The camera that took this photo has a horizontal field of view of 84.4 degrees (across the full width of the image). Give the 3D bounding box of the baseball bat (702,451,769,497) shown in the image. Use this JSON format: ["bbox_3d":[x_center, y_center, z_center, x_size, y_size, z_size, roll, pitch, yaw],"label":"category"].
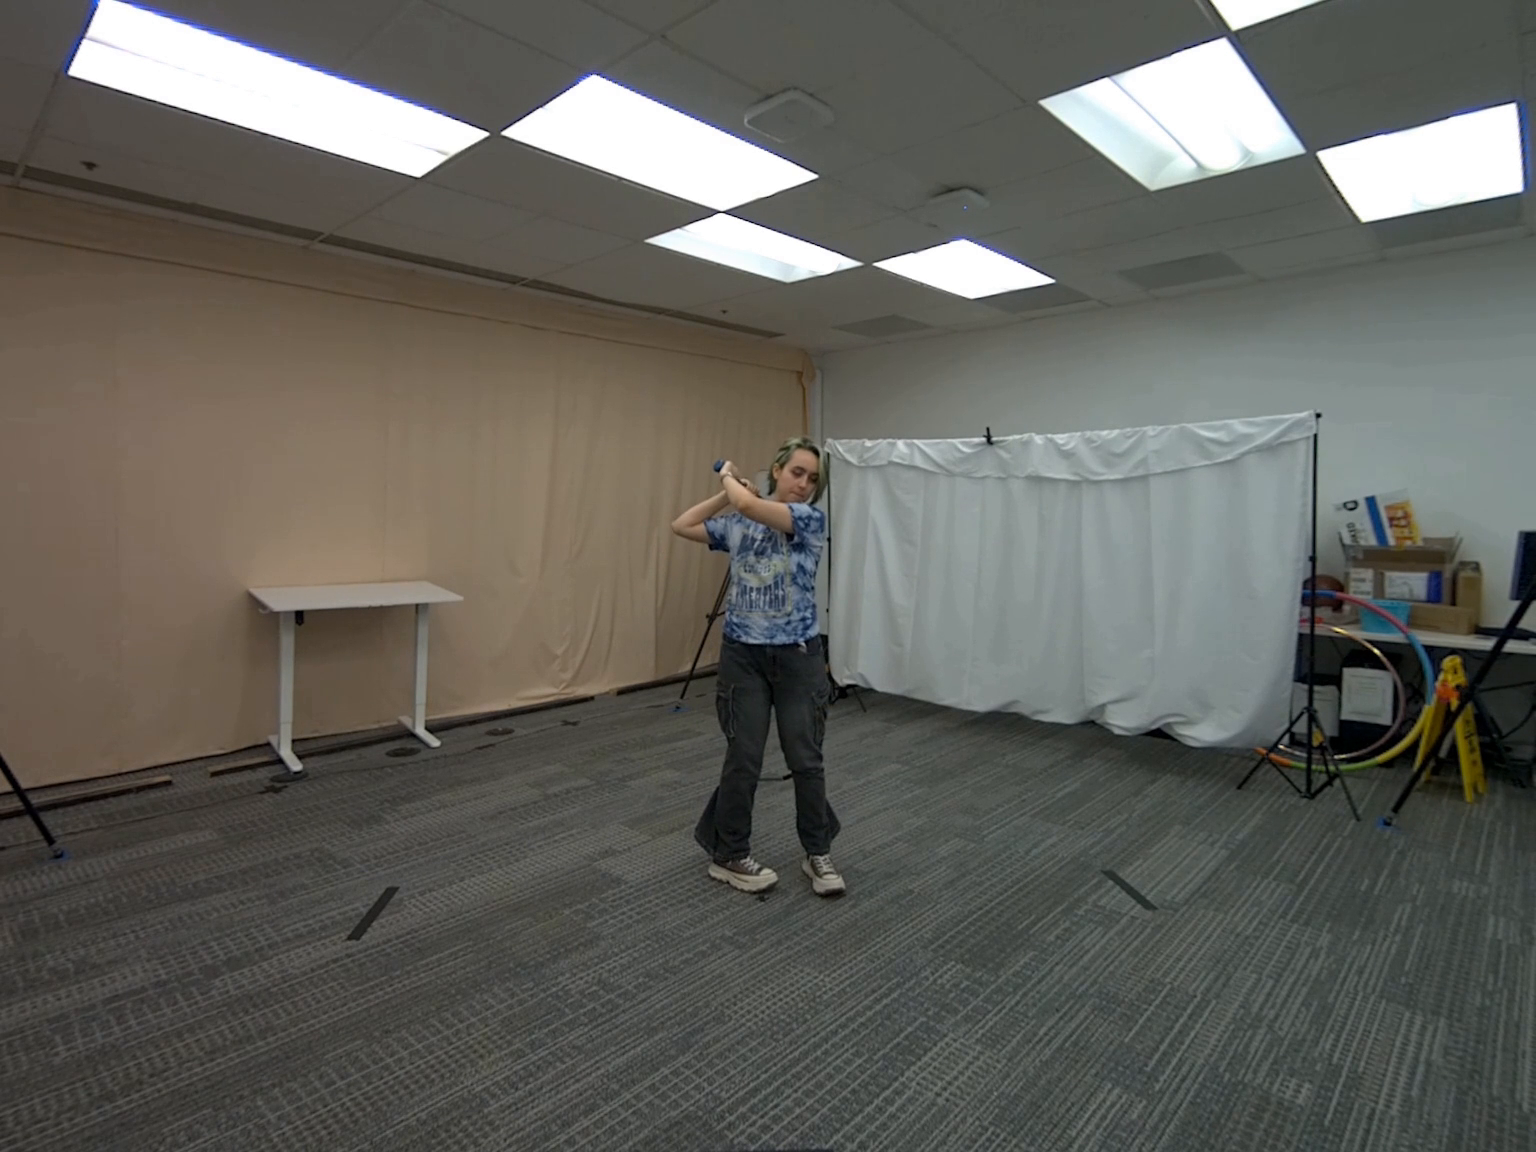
[{"bbox_3d":[-0.032,-0.276,3.227,0.092,0.089,0.525,4,-30,48],"label":"baseball bat"}]
